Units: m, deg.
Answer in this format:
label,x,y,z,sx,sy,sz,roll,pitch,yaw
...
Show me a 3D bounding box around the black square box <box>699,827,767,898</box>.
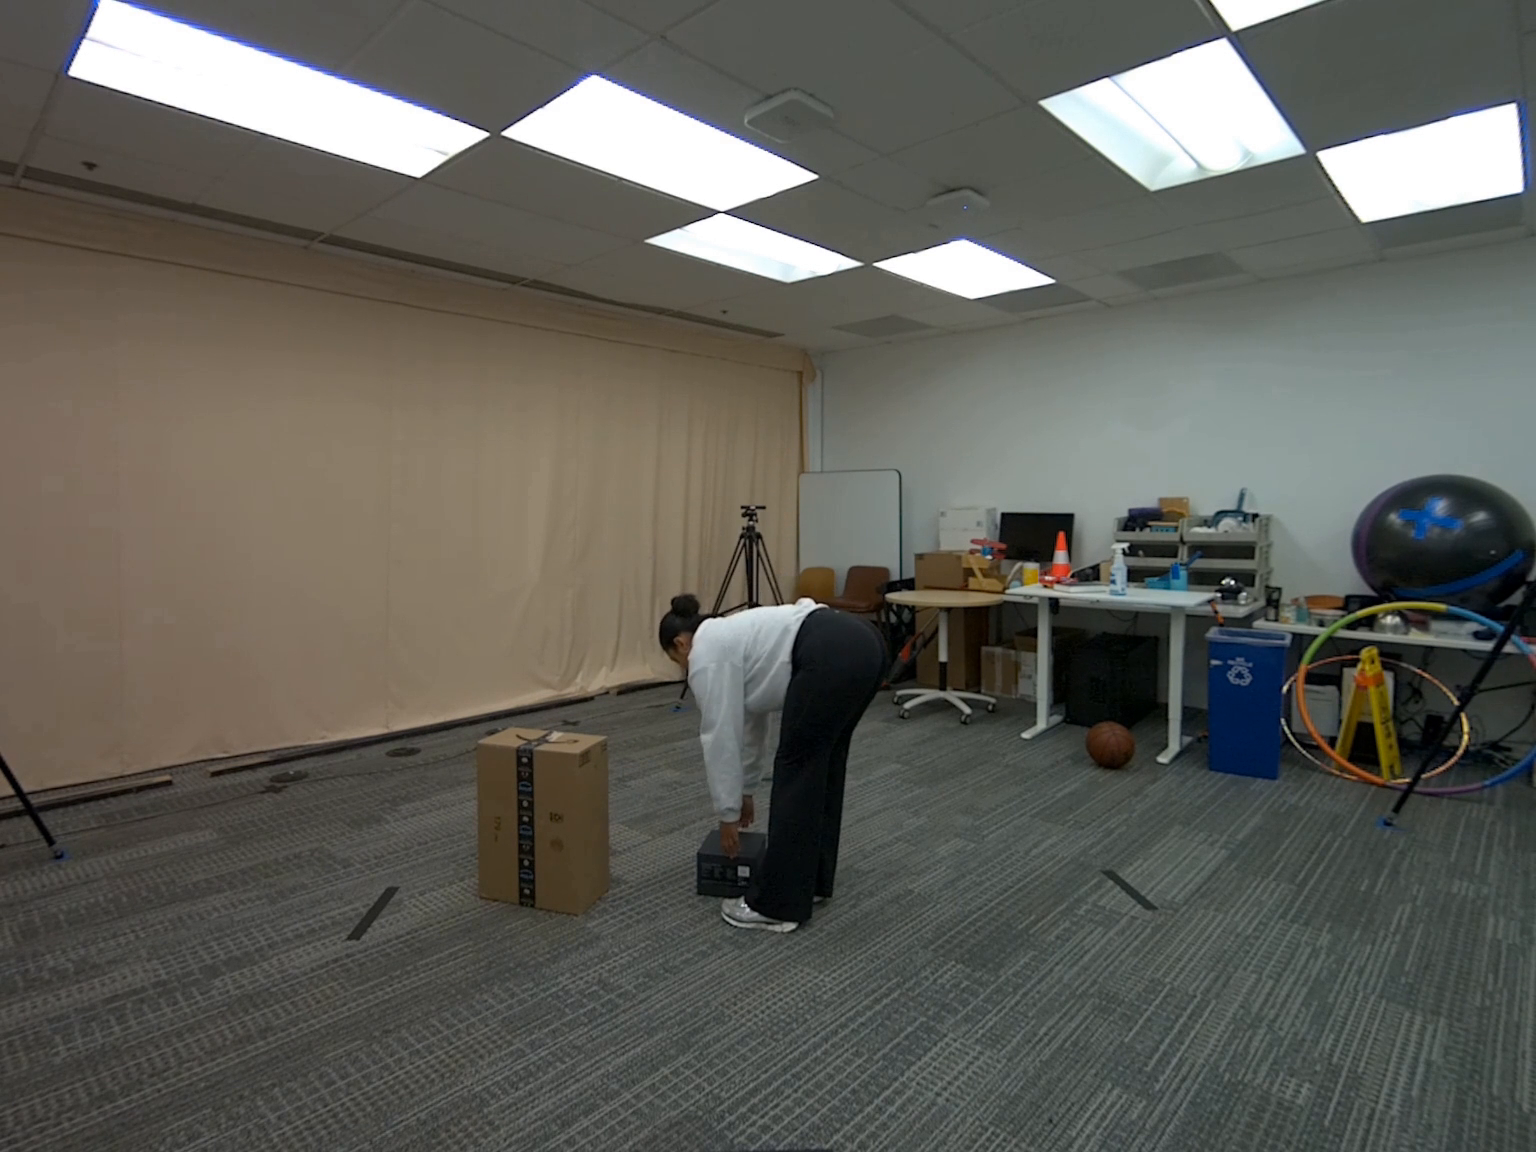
label,x,y,z,sx,sy,sz,roll,pitch,yaw
black square box,-0.120,1.041,3.085,0.220,0.155,0.225,1,4,11
